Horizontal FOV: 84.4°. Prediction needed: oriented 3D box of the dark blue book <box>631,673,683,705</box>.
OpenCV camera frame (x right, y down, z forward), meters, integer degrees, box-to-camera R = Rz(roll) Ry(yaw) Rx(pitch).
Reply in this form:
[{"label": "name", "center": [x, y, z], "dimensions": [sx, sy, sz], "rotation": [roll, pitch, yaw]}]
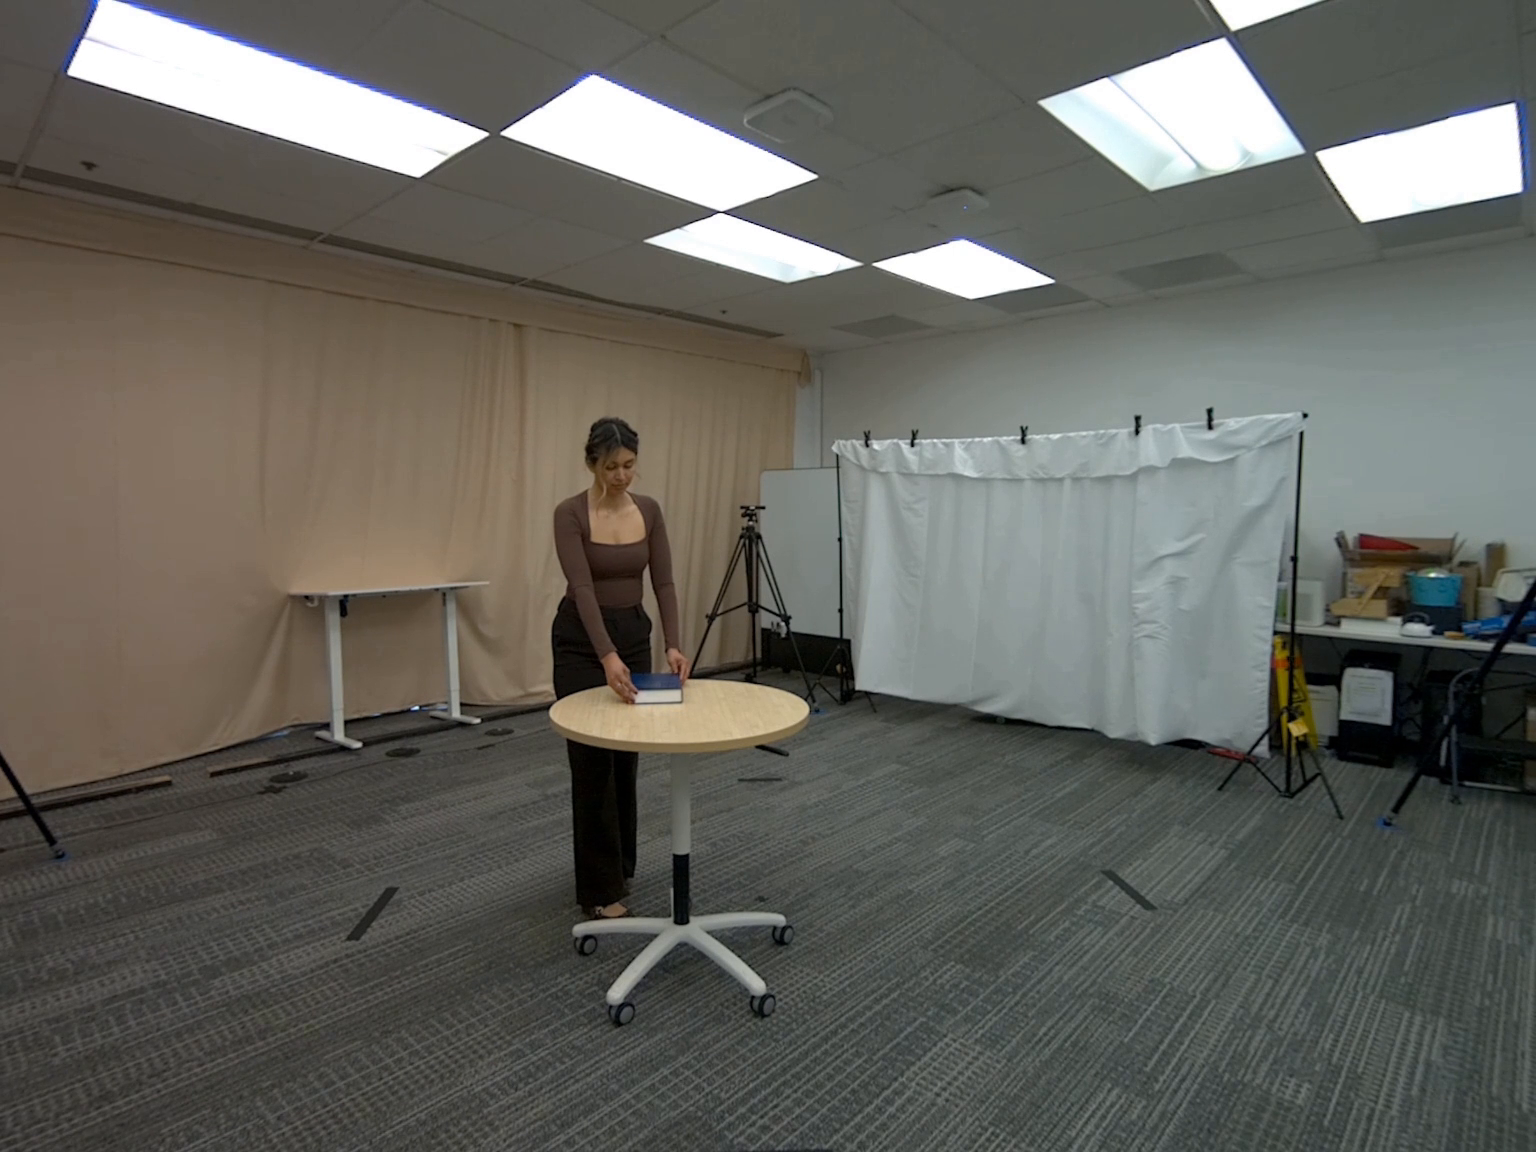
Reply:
[{"label": "dark blue book", "center": [-0.351, 0.361, 2.659], "dimensions": [0.162, 0.045, 0.247], "rotation": [-1, 3, -7]}]
